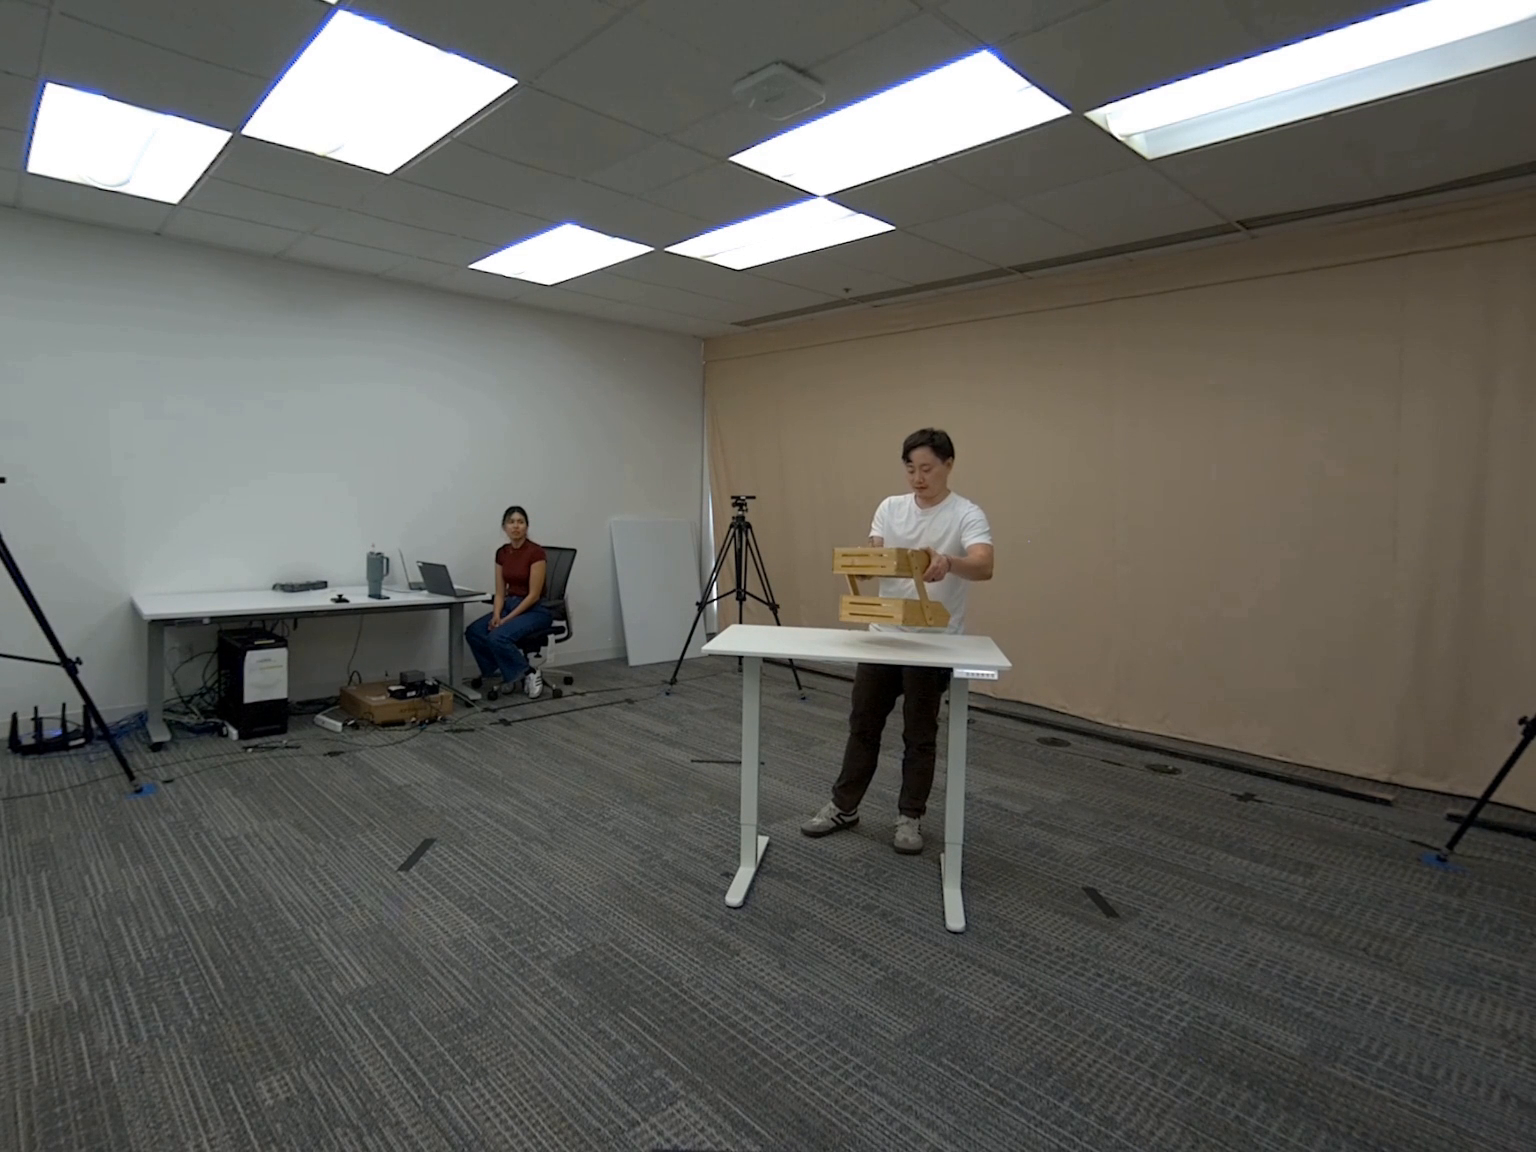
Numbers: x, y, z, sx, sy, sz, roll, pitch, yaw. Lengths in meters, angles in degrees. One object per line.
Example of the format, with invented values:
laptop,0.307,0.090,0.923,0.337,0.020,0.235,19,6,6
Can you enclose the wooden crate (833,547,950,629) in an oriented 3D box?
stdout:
wooden crate,0.436,0.038,2.987,0.294,0.274,0.332,4,-3,-39
